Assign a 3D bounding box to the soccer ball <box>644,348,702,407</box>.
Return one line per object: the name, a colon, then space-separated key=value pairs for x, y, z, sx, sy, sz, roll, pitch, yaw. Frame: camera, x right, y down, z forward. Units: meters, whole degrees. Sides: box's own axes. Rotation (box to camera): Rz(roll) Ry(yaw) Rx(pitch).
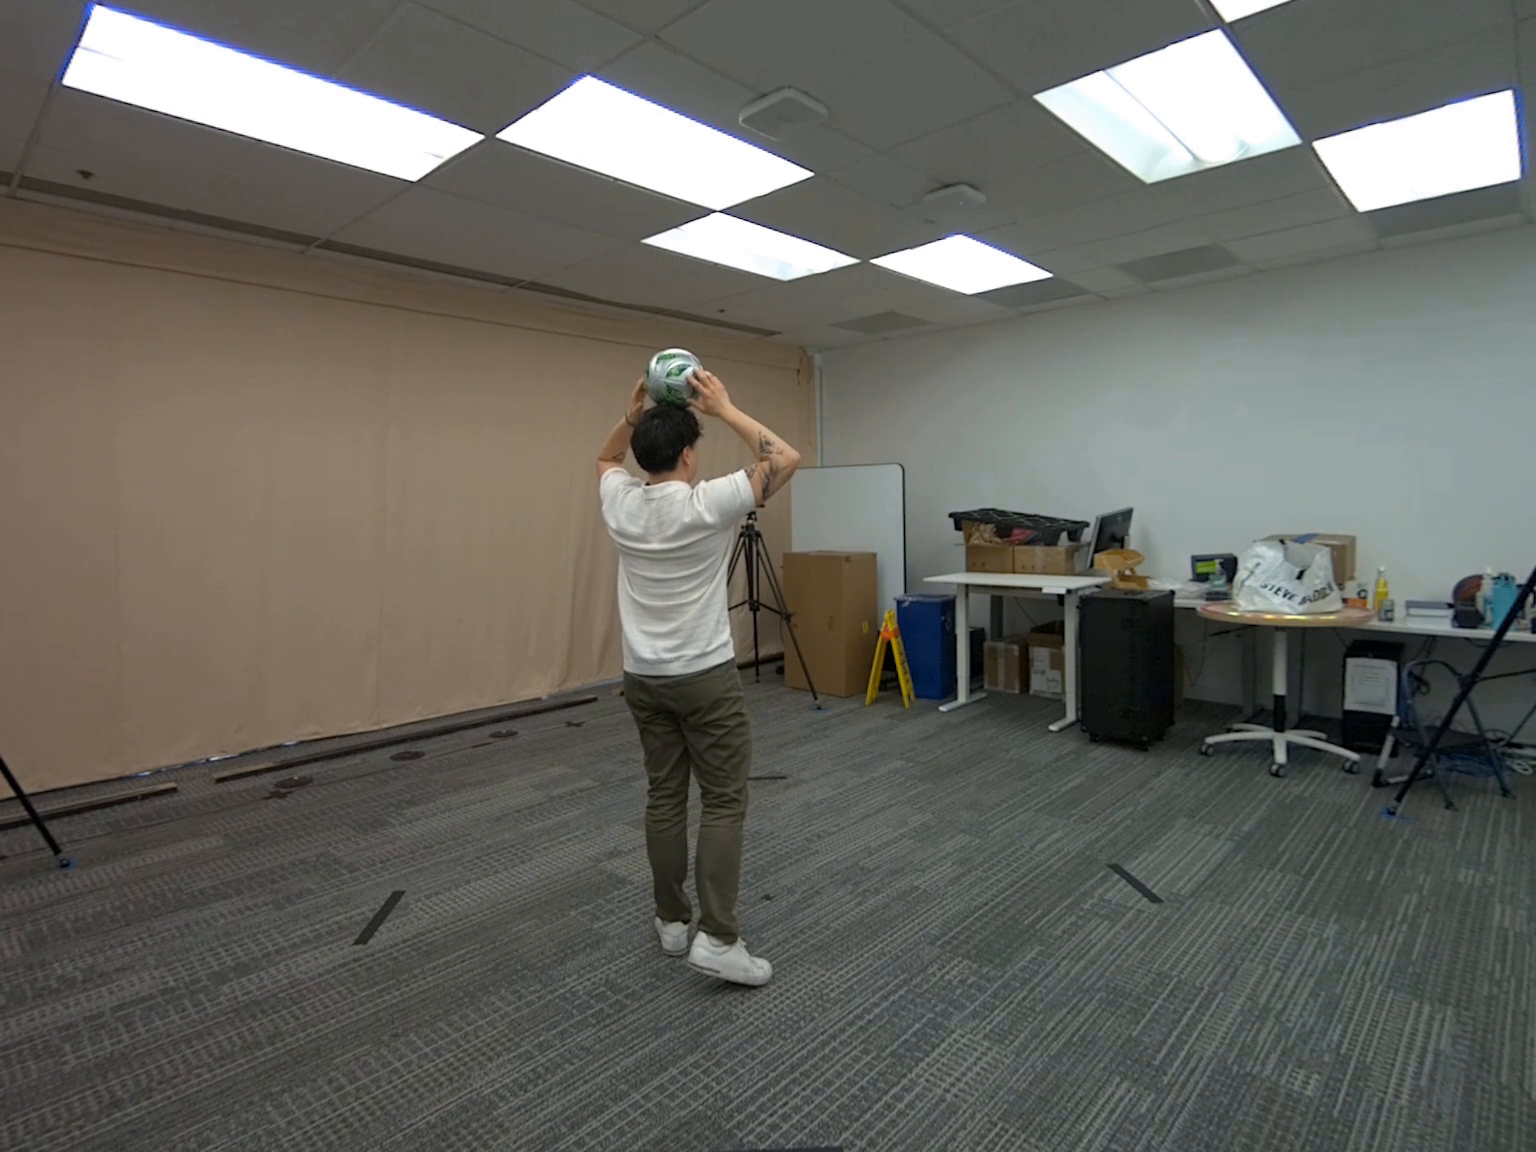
soccer ball: x=-0.281 y=-0.597 z=2.574 sx=0.187 sy=0.187 sz=0.188 roll=-1 pitch=4 yaw=-2
